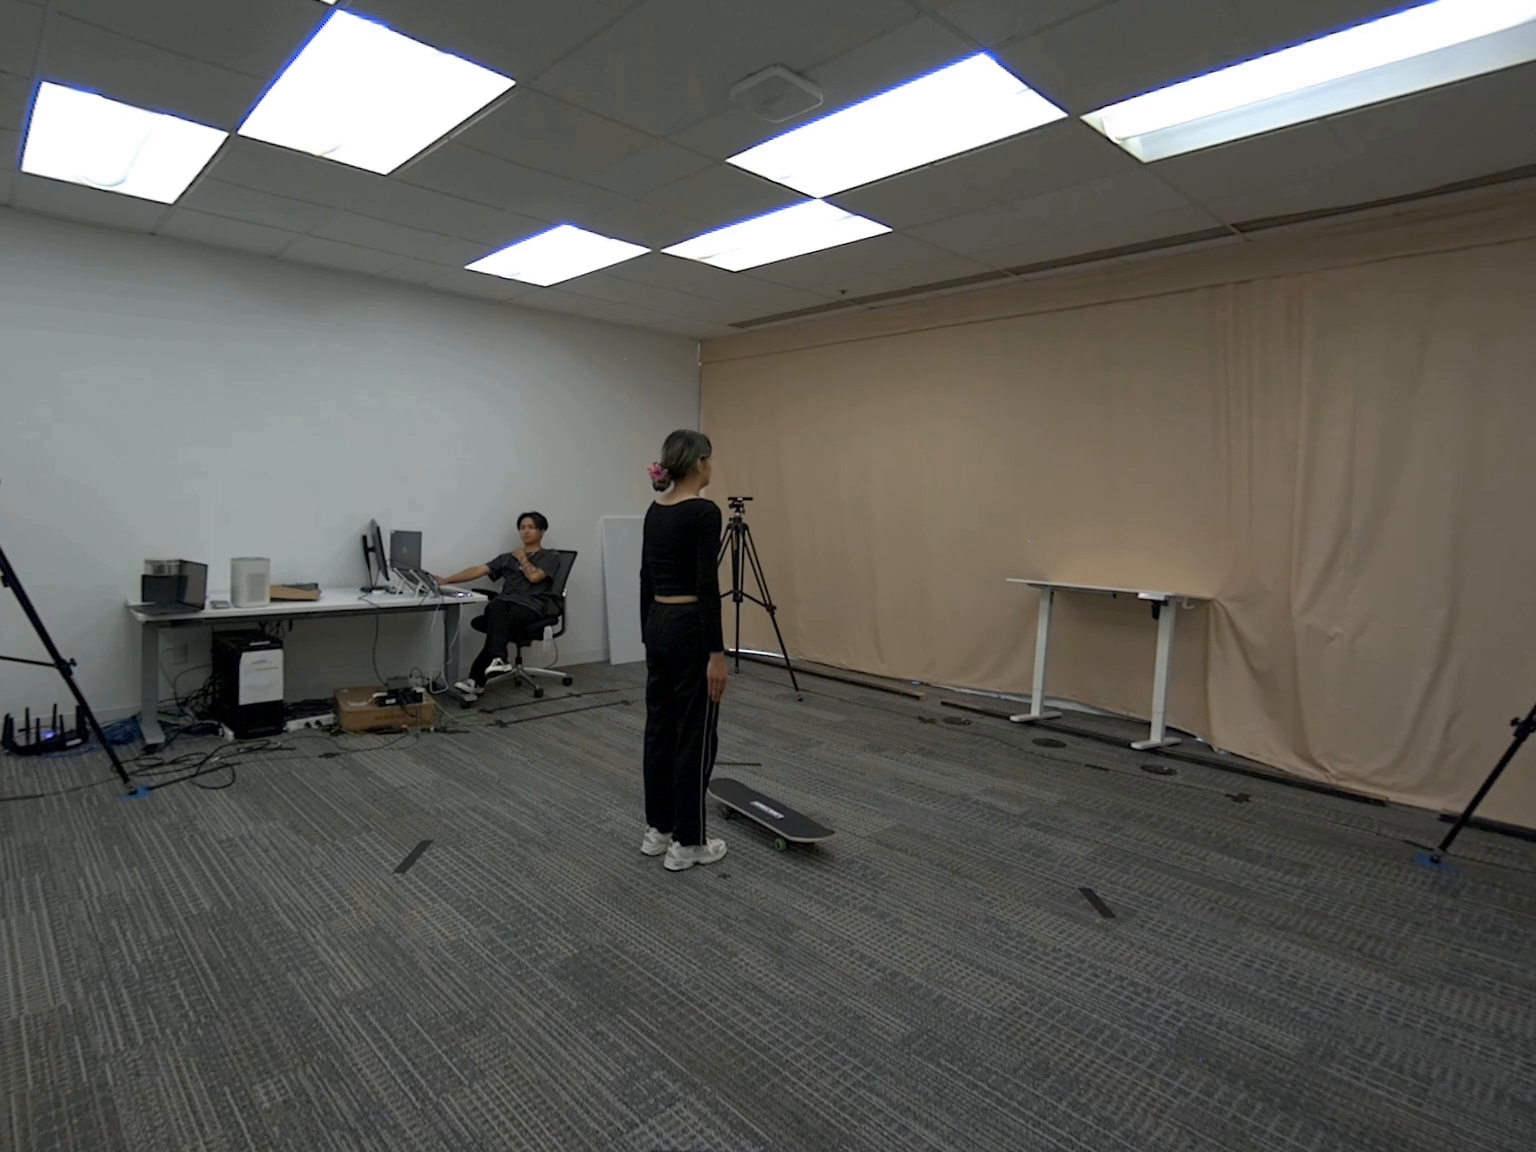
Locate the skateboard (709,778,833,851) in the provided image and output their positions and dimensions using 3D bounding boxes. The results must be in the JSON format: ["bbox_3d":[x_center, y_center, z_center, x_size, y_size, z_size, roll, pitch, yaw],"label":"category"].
[{"bbox_3d":[-0.014,1.017,3.553,0.189,0.110,0.805,-1,5,-35],"label":"skateboard"}]
